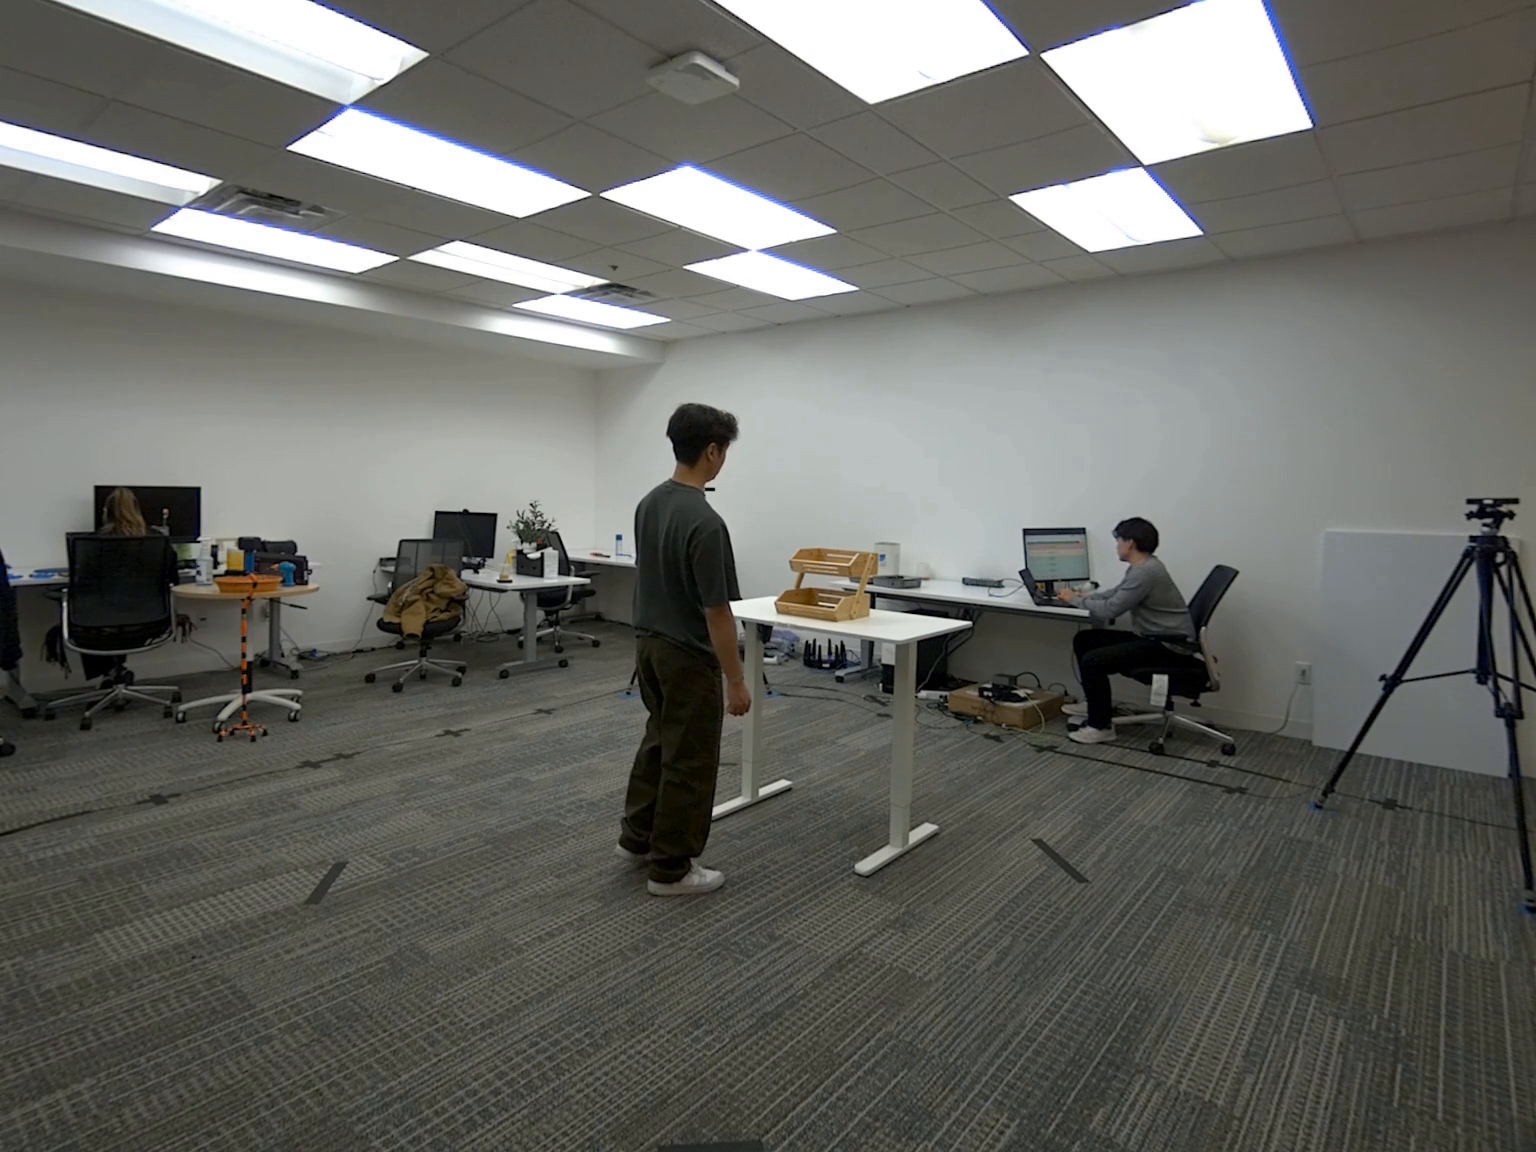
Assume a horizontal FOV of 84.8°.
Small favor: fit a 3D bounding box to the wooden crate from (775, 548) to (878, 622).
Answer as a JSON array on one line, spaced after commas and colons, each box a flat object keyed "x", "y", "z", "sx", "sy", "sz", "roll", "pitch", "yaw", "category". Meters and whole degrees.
[{"x": 0.230, "y": 0.021, "z": 3.496, "sx": 0.335, "sy": 0.272, "sz": 0.293, "roll": 6, "pitch": 6, "yaw": 40, "category": "wooden crate"}]
